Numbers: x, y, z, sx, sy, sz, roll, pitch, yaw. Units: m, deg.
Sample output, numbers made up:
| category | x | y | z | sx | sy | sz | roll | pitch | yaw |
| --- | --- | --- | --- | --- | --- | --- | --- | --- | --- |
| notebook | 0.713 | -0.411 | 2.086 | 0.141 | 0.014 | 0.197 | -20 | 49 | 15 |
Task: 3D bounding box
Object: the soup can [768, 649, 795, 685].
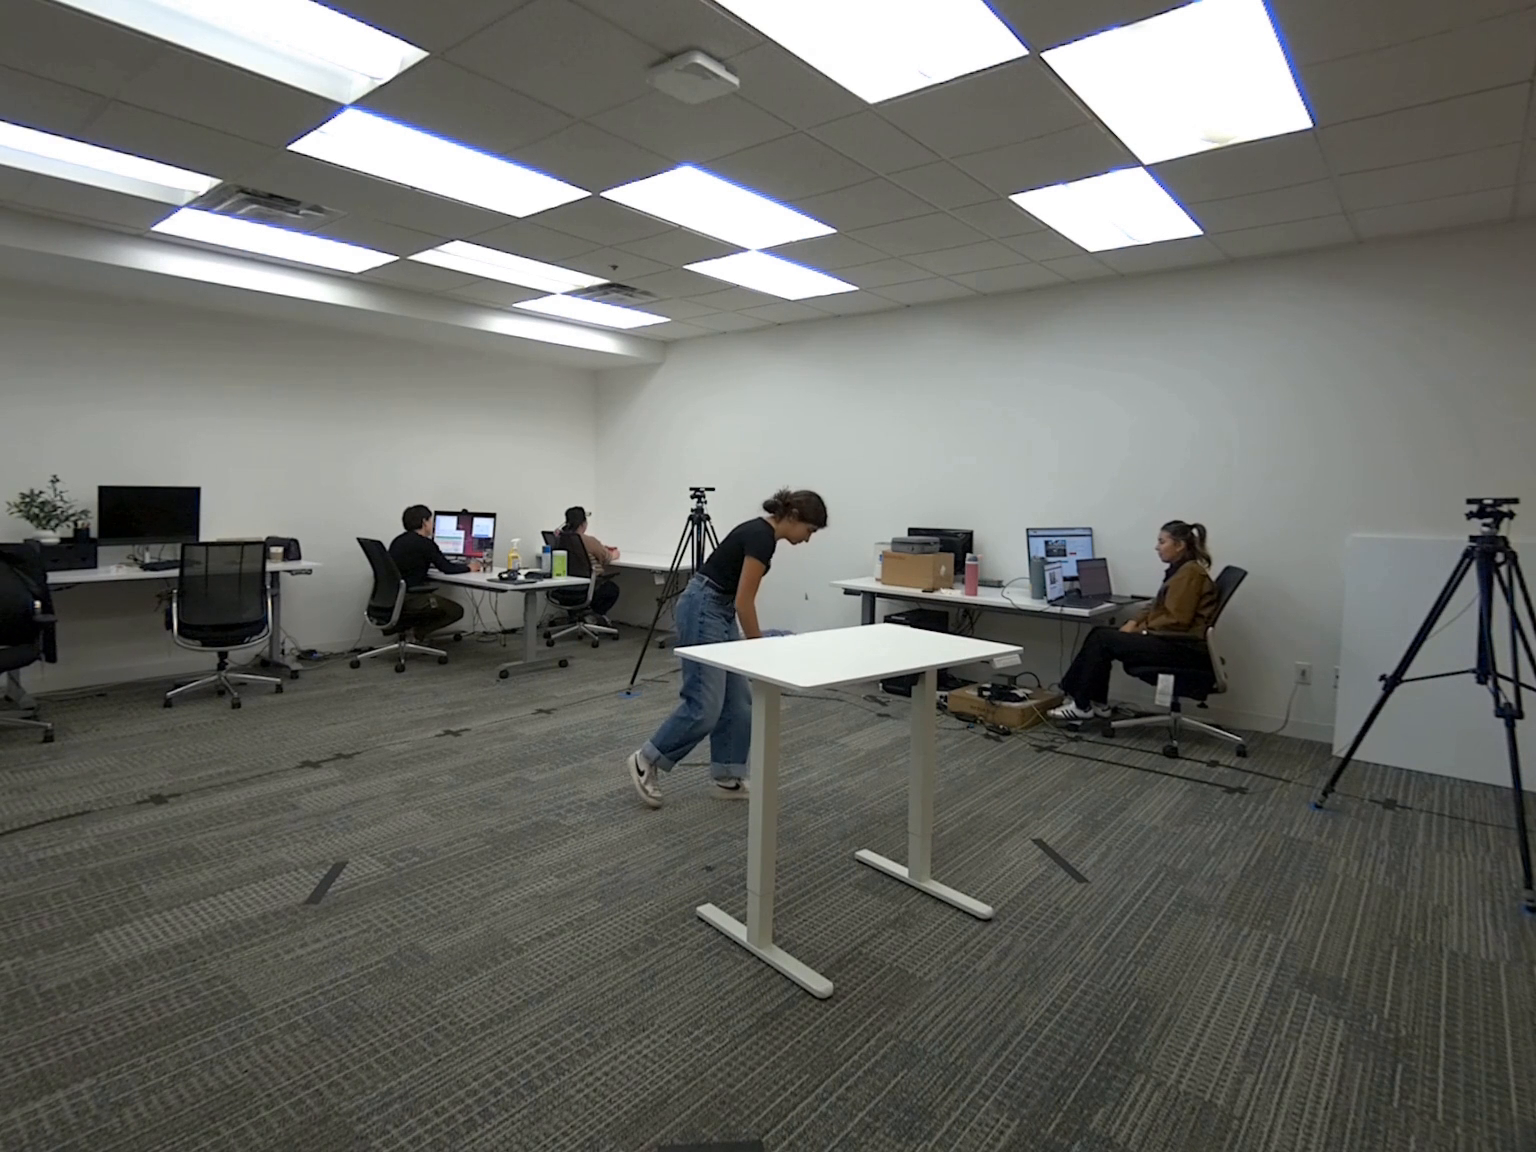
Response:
| category | x | y | z | sx | sy | sz | roll | pitch | yaw |
| --- | --- | --- | --- | --- | --- | --- | --- | --- | --- |
| soup can | 0.057 | 0.396 | 3.689 | 0.067 | 0.121 | 0.067 | 23 | 5 | -4 |
